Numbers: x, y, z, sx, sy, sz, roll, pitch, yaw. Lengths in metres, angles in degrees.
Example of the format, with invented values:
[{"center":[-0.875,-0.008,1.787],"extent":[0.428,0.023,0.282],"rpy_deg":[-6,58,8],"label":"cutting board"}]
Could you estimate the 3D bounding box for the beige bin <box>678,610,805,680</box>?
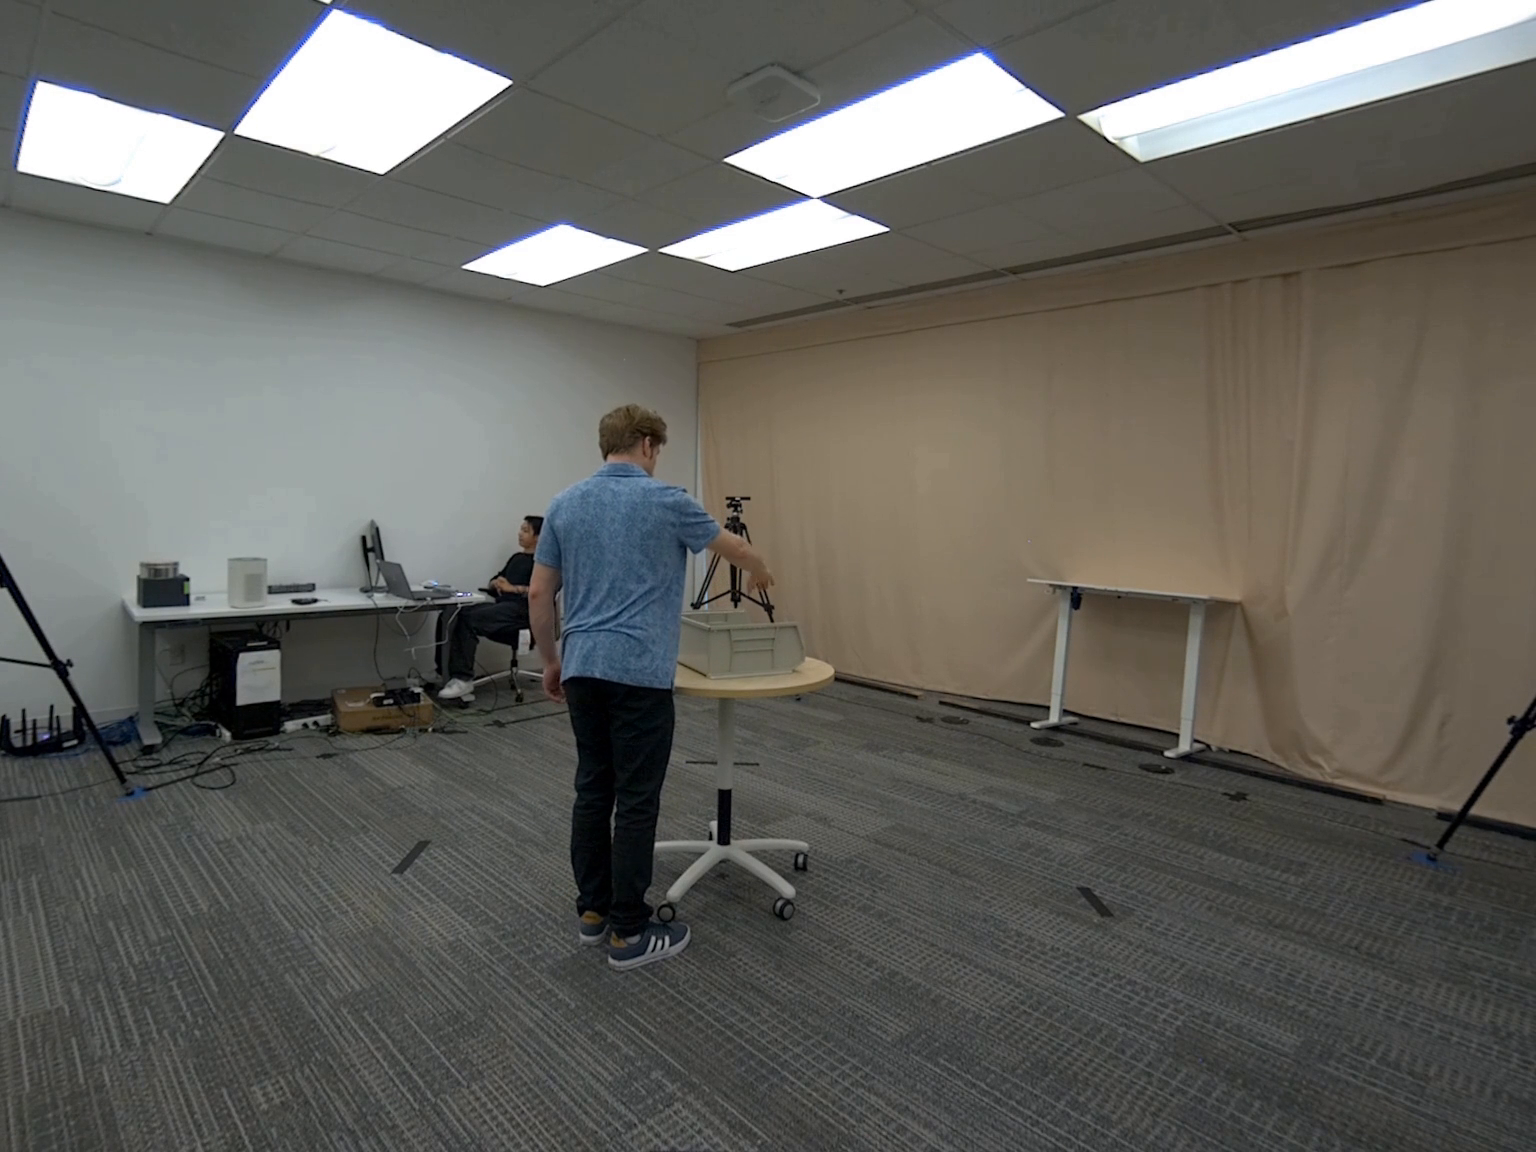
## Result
[{"center":[-0.146,0.233,3.042],"extent":[0.371,0.188,0.431],"rpy_deg":[-3,6,-25],"label":"beige bin"}]
